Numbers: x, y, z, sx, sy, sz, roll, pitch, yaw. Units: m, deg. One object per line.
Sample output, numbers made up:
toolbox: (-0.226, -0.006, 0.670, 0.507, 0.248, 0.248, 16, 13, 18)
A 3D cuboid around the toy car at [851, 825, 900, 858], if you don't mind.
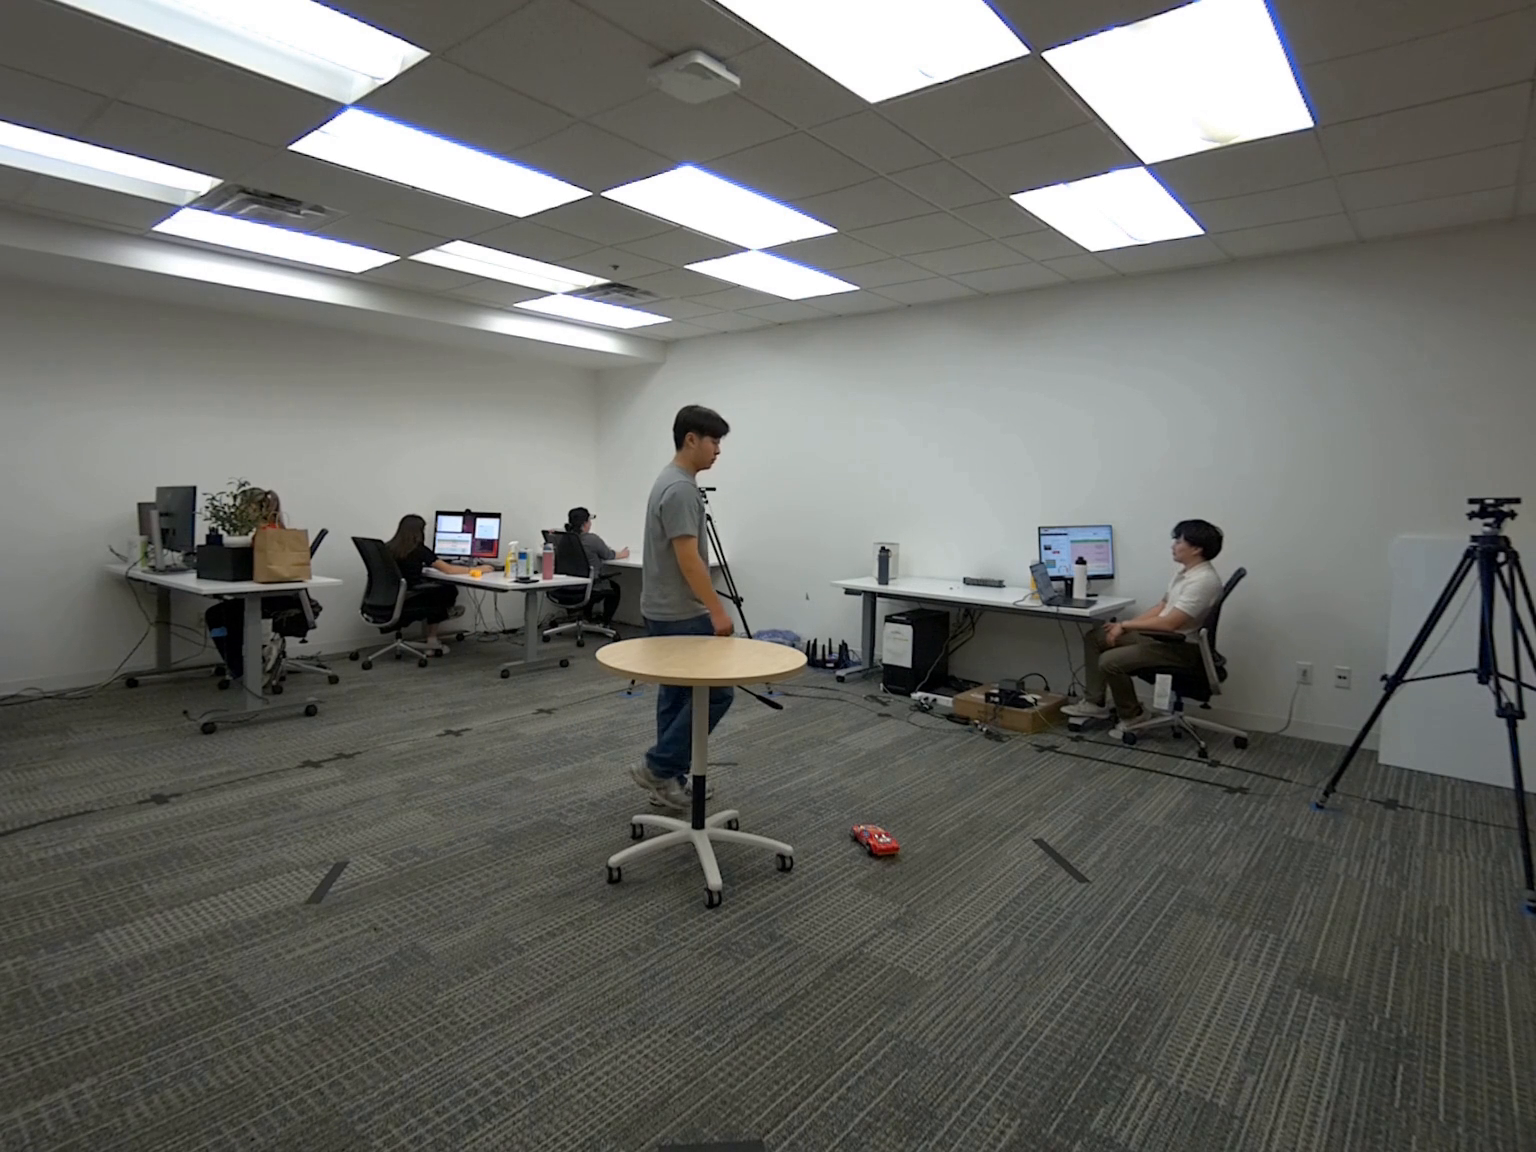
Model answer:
toy car: (0.417, 1.029, 3.316, 0.128, 0.084, 0.257, 0, -5, -18)
